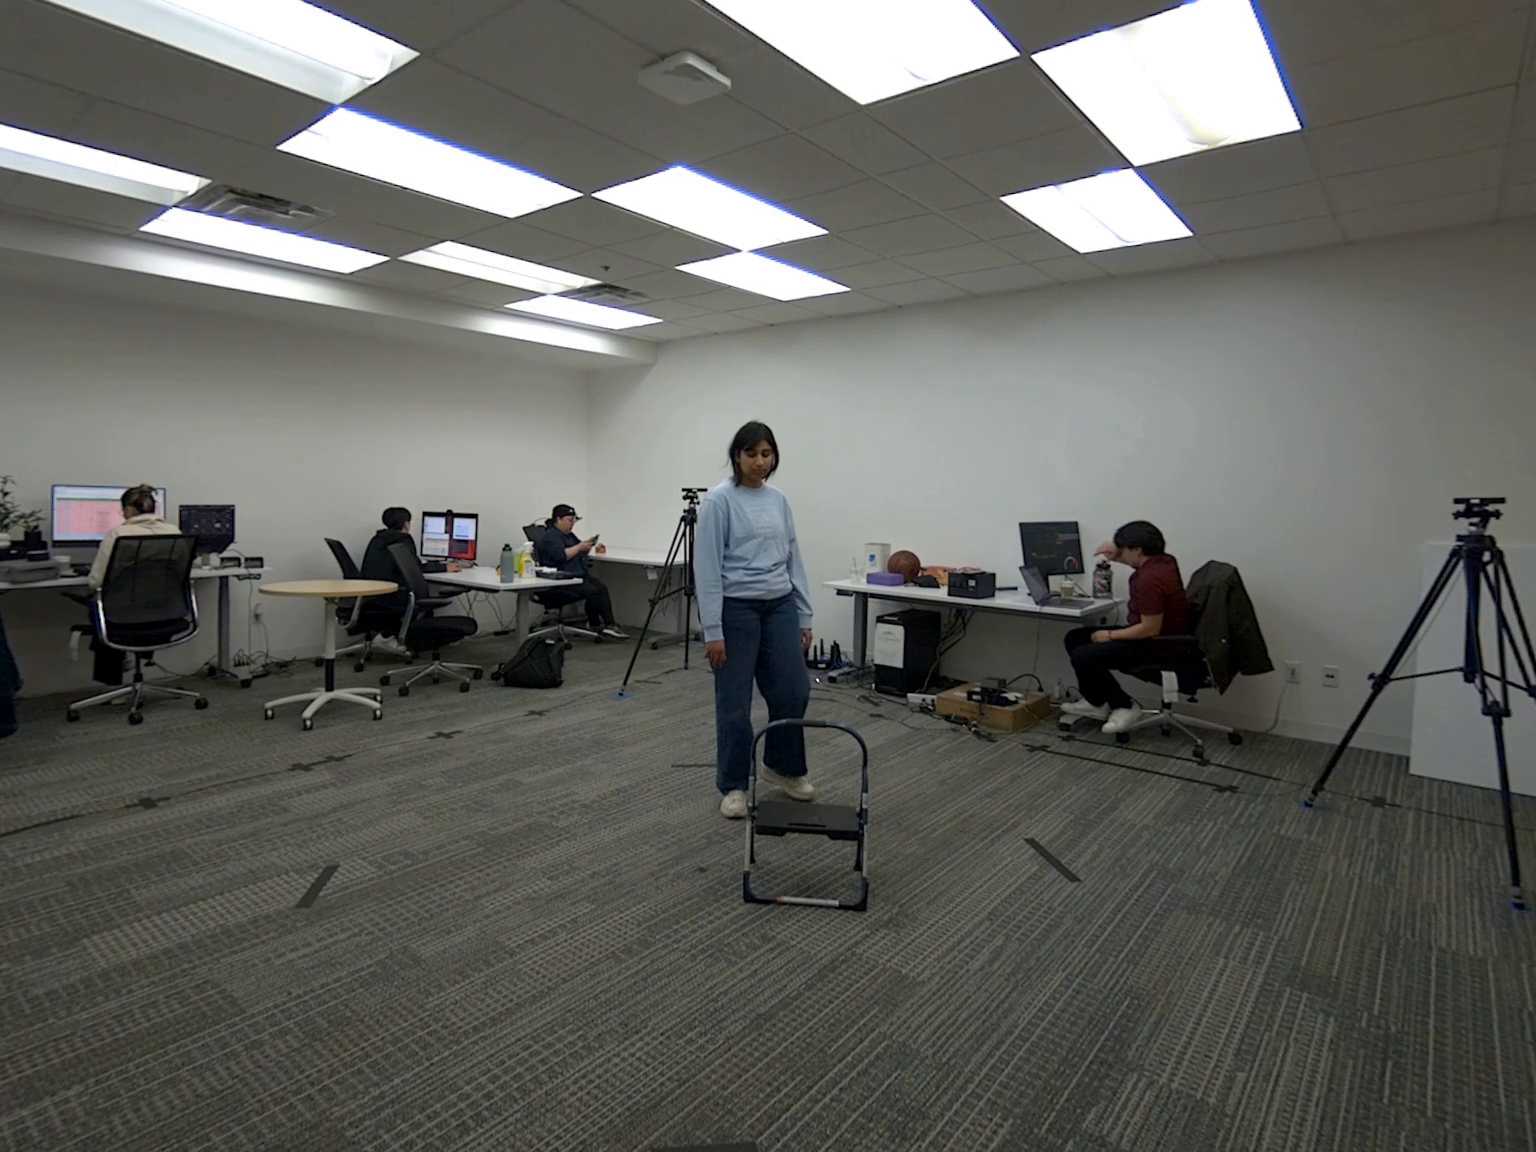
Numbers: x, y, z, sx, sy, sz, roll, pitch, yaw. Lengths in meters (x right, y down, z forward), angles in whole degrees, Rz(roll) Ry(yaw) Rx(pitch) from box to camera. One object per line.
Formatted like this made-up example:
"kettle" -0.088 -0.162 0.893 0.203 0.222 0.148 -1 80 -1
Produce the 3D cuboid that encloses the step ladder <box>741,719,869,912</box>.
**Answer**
"step ladder" 0.131 0.785 2.993 0.433 0.605 0.348 2 3 4
